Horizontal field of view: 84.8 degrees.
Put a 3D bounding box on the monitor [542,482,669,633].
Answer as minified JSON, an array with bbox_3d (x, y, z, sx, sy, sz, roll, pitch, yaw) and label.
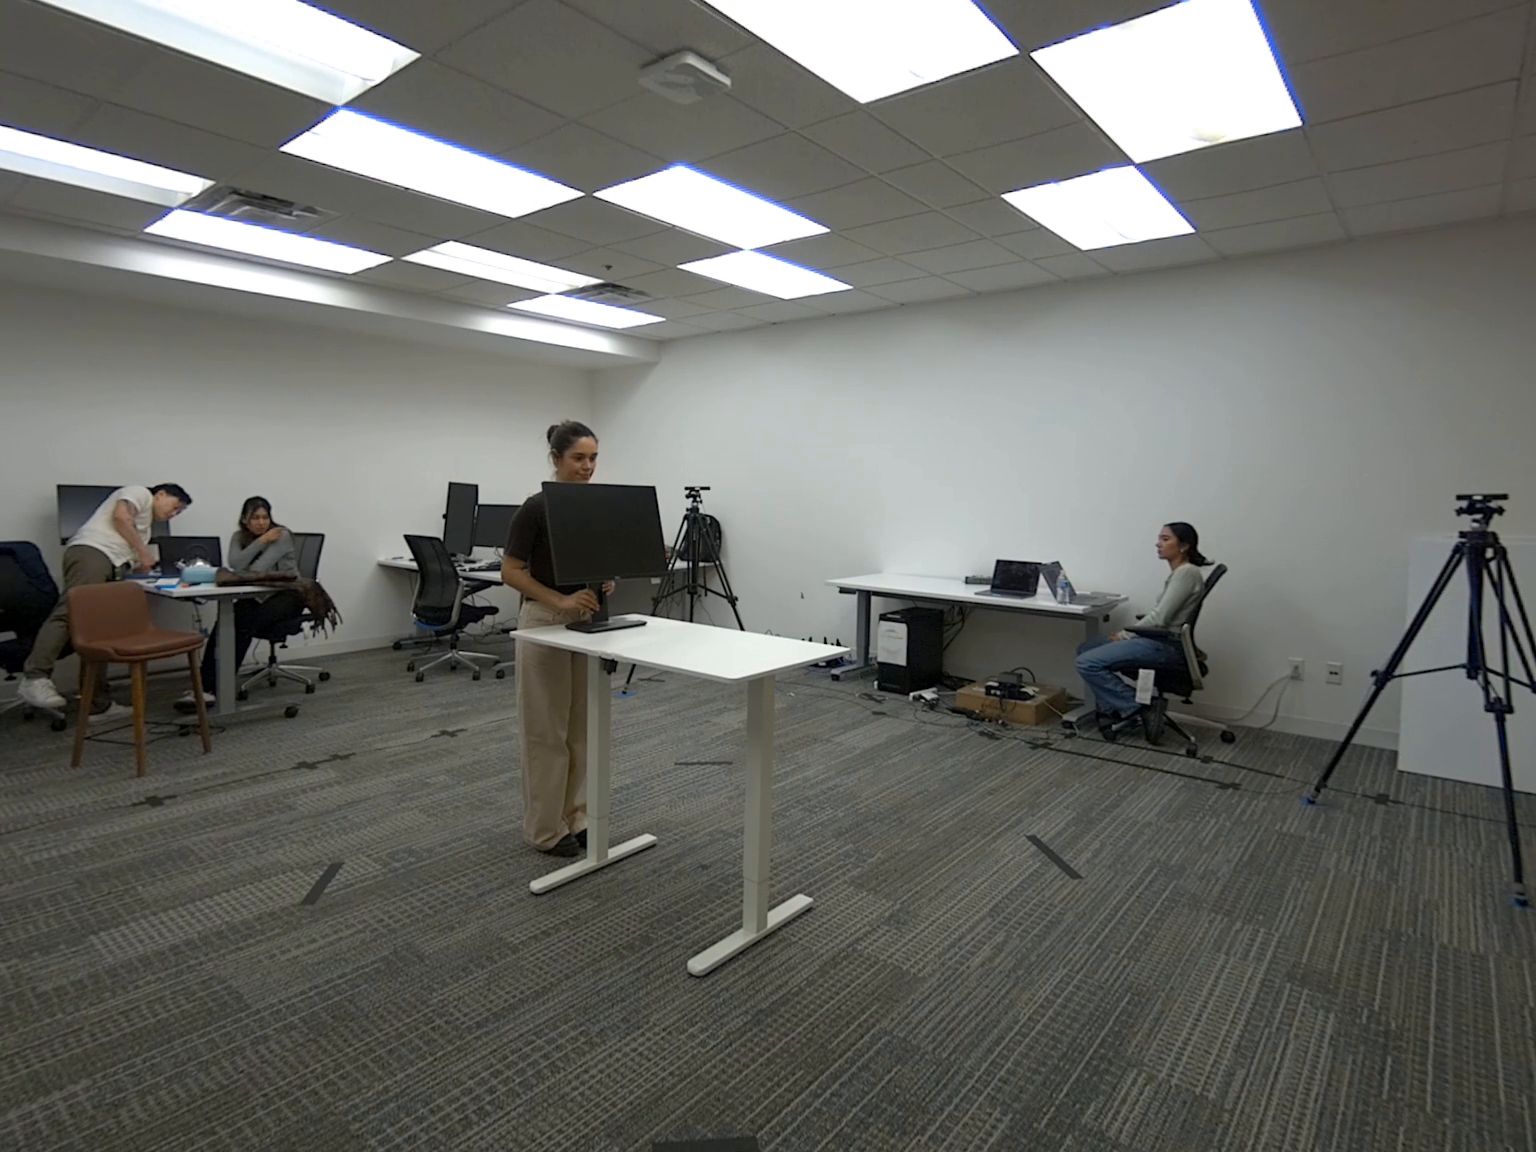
[{"bbox_3d":[-0.601,-0.075,3.046,0.180,0.514,0.514,6,4,36],"label":"monitor"}]
